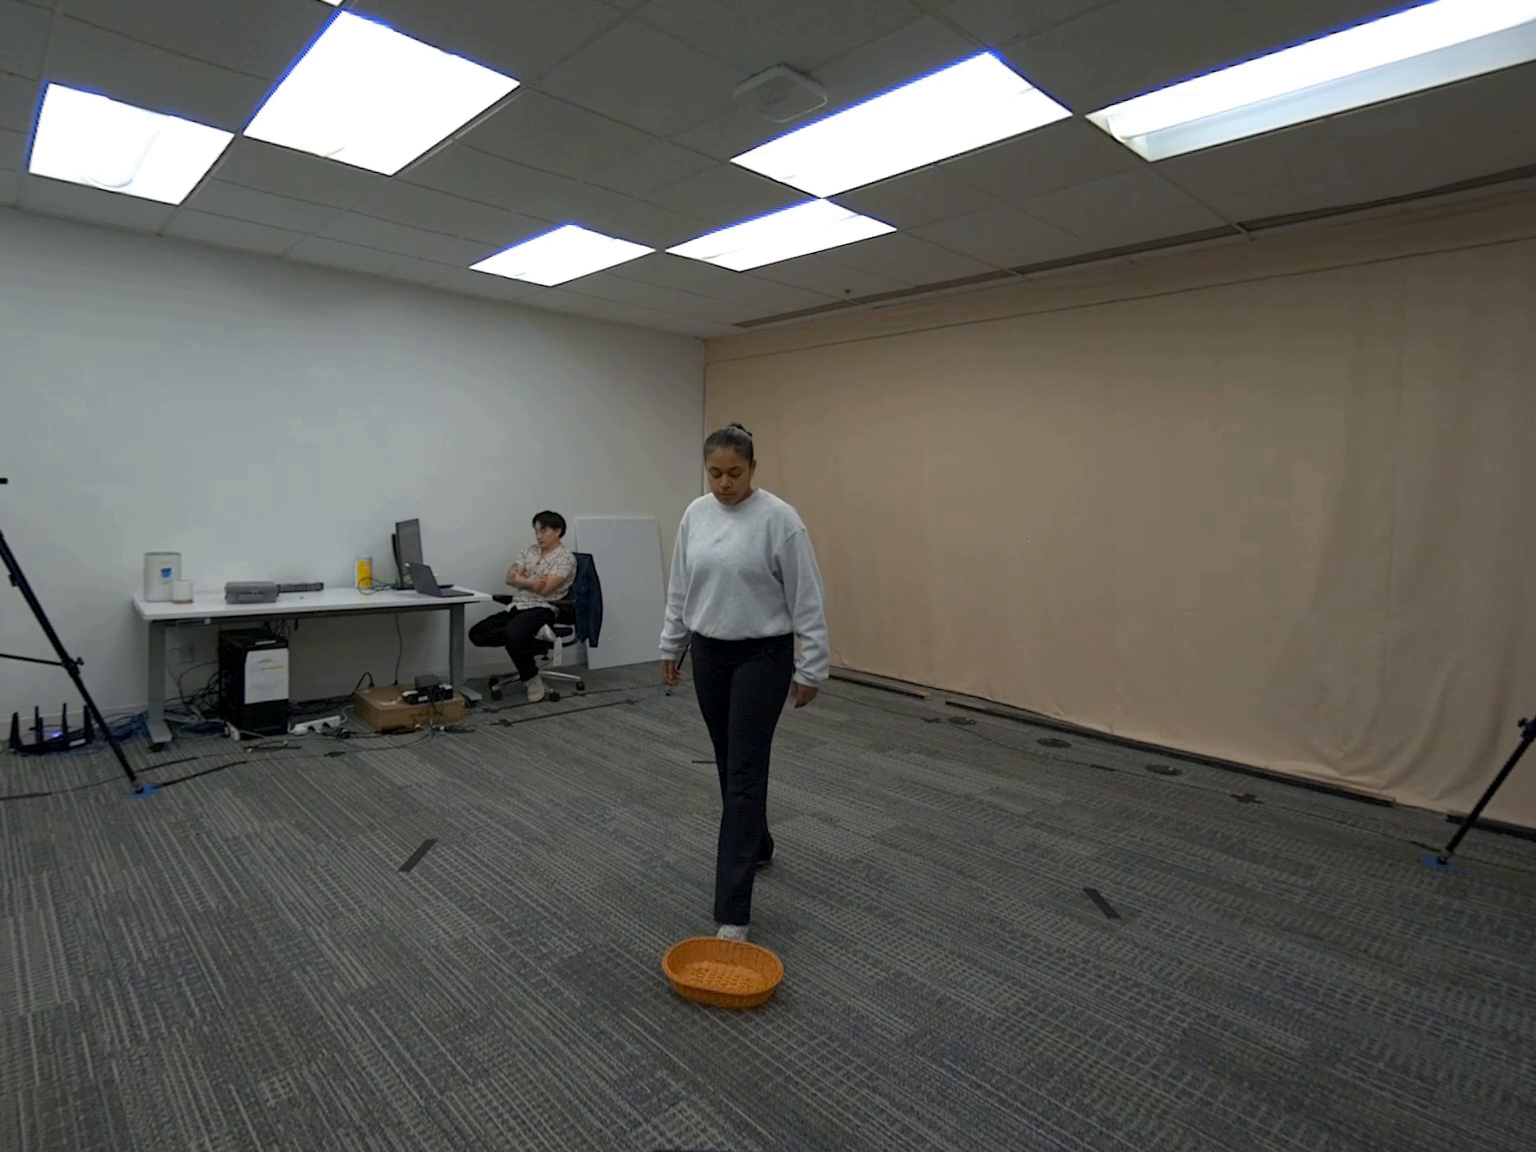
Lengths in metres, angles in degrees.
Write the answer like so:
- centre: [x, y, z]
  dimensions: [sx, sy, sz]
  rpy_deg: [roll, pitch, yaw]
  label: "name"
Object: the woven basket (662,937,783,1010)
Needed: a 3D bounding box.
- centre: [-0.145, 1.132, 2.402]
  dimensions: [0.355, 0.073, 0.251]
  rpy_deg: [3, 9, 15]
  label: "woven basket"
